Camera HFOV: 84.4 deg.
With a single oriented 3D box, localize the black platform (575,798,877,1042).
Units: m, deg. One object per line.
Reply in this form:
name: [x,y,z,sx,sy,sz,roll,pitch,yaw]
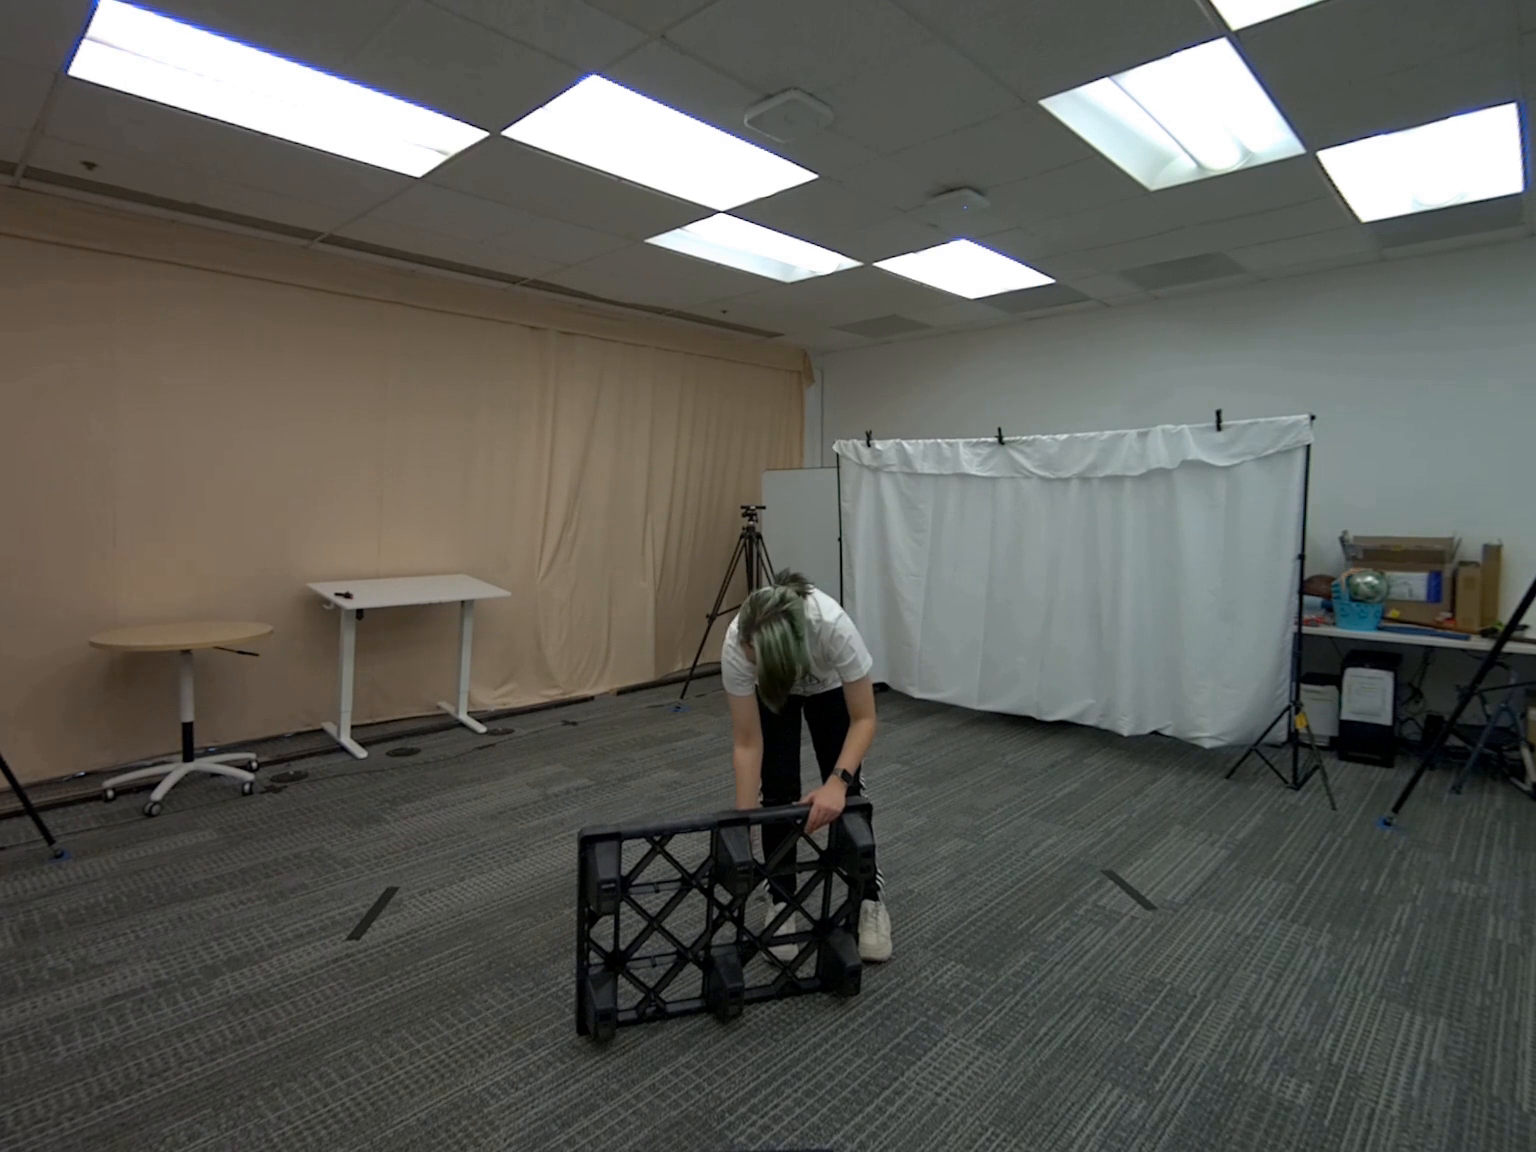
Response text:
black platform: [-0.105,0.929,2.220,0.792,0.600,0.147,-2,14,-17]
